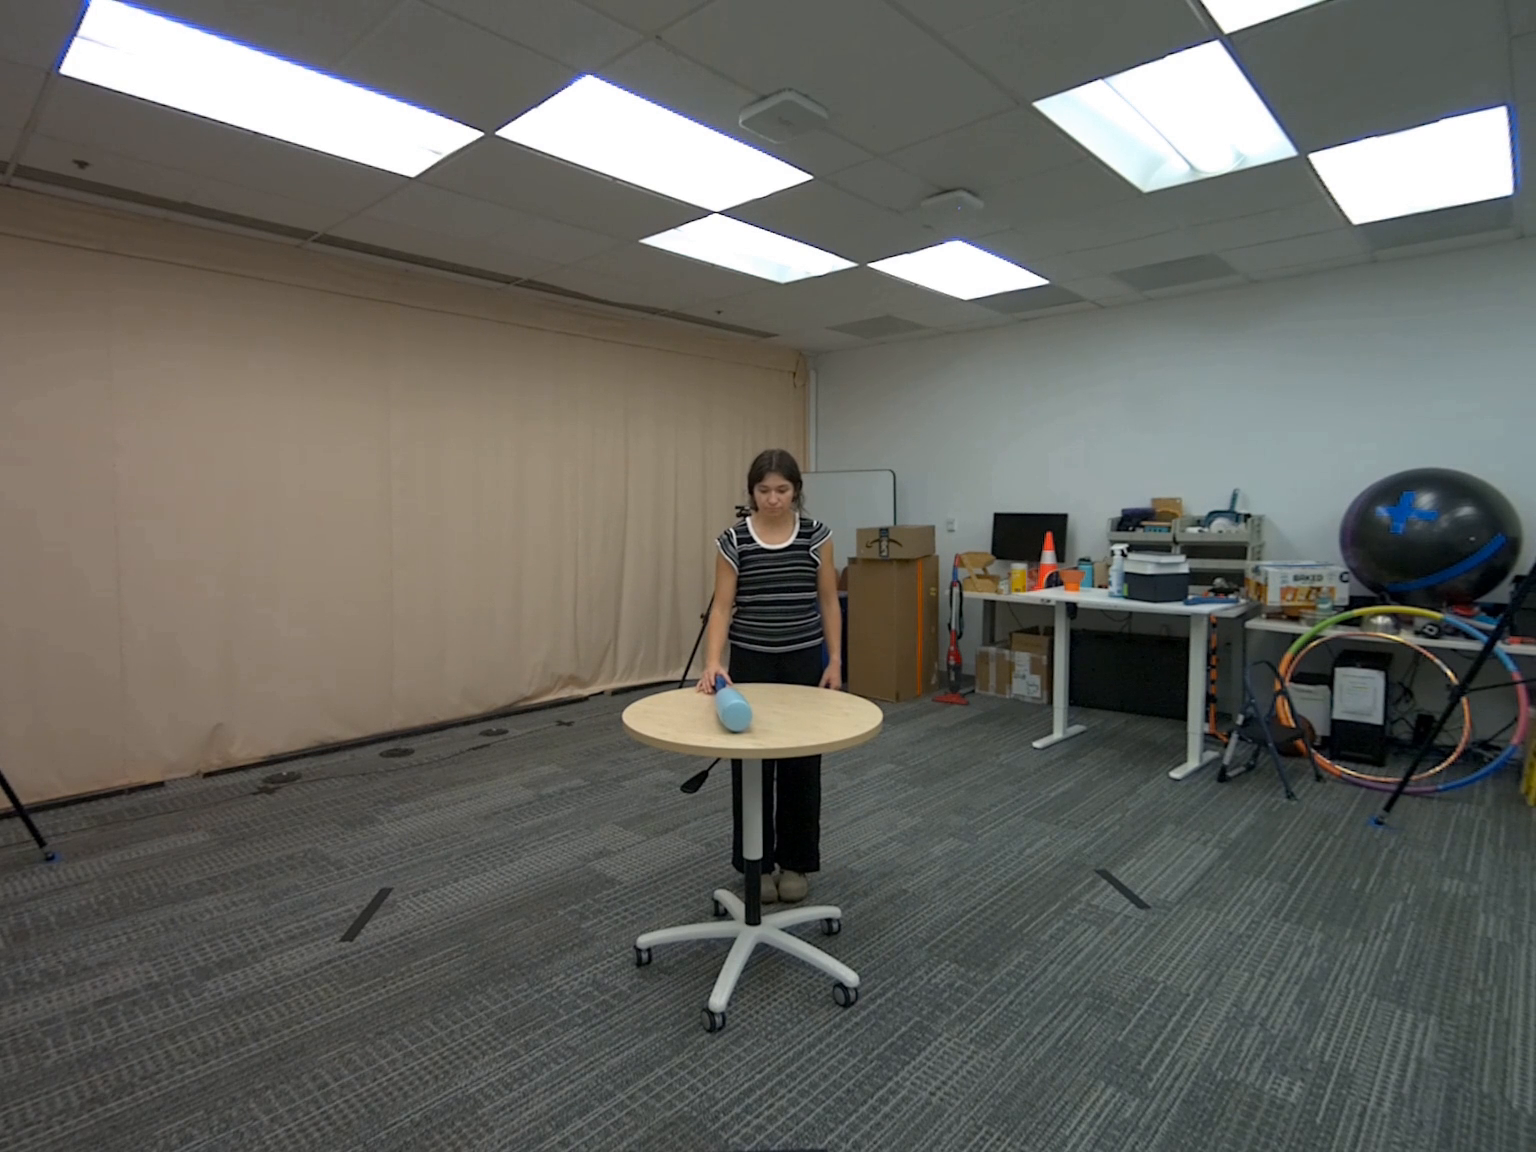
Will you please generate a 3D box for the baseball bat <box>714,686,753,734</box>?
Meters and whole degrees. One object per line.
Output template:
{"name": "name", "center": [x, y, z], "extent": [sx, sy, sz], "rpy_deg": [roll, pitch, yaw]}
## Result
{"name": "baseball bat", "center": [-0.119, 0.364, 2.509], "extent": [0.088, 0.089, 0.548], "rpy_deg": [0, 3, -9]}
